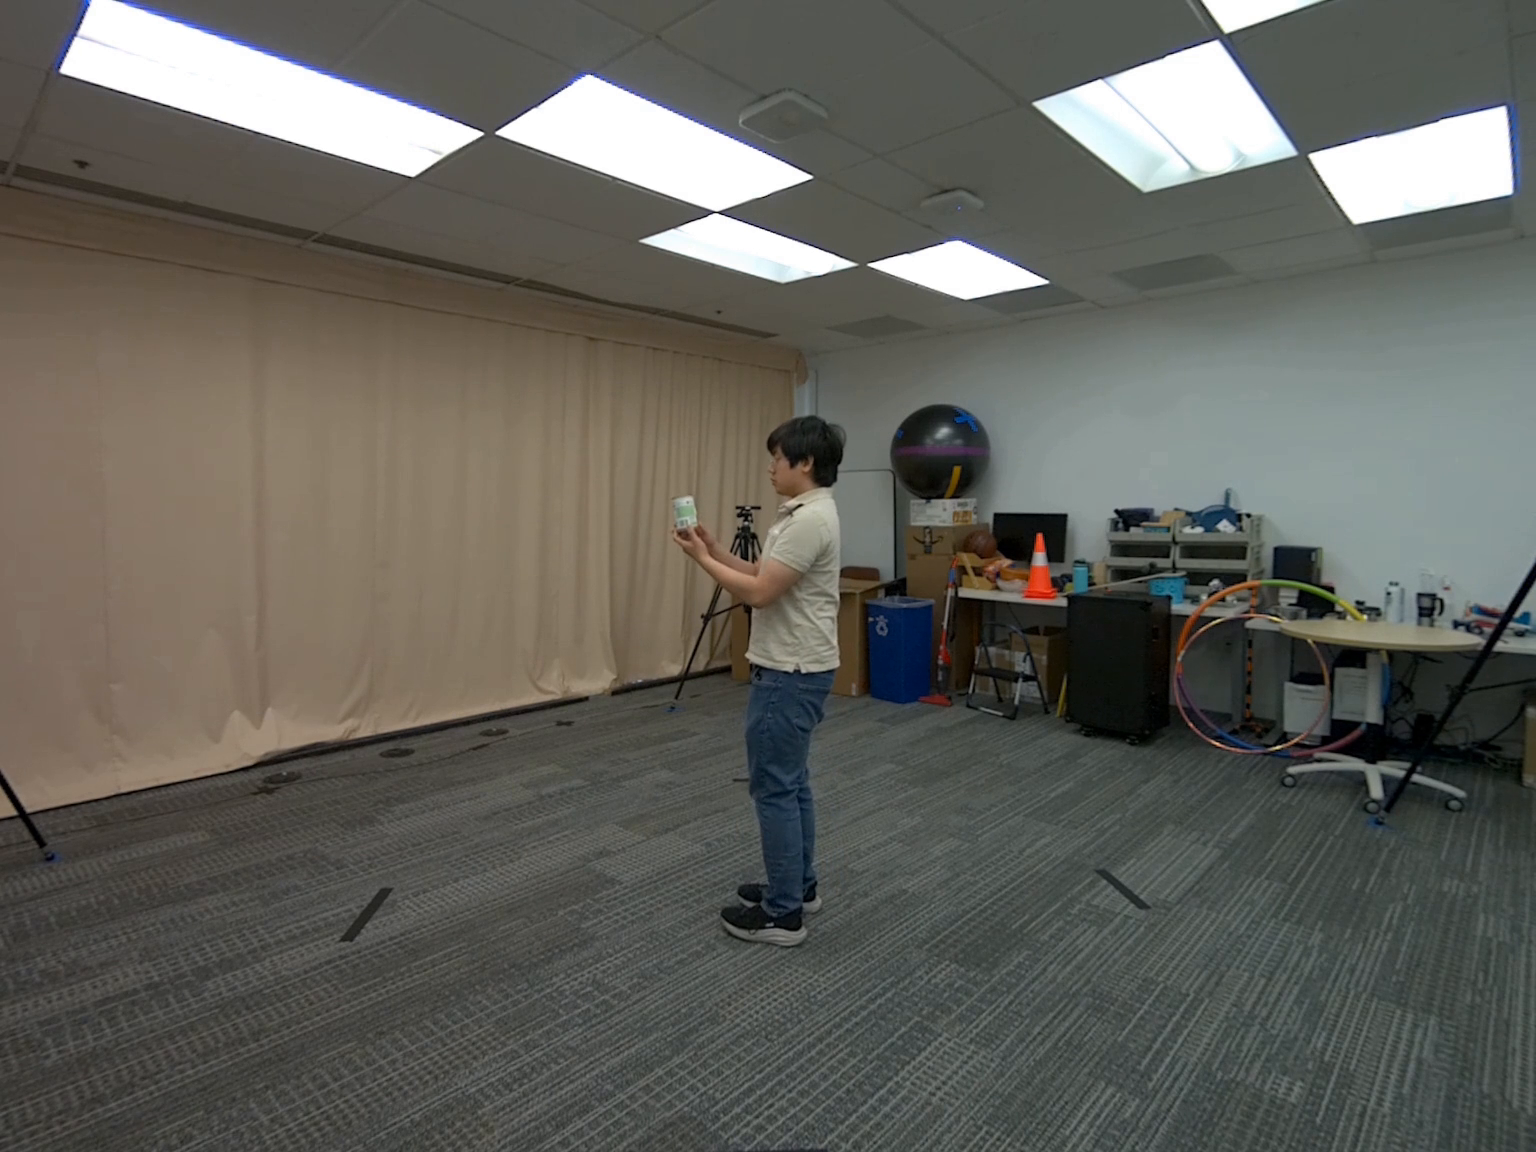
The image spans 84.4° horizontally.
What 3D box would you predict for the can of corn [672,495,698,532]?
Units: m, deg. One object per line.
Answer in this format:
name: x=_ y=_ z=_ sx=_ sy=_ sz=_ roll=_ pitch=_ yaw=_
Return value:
can of corn: x=-0.270 y=-0.204 z=2.776 sx=0.074 sy=0.111 sz=0.074 roll=-9 pitch=4 yaw=-1
